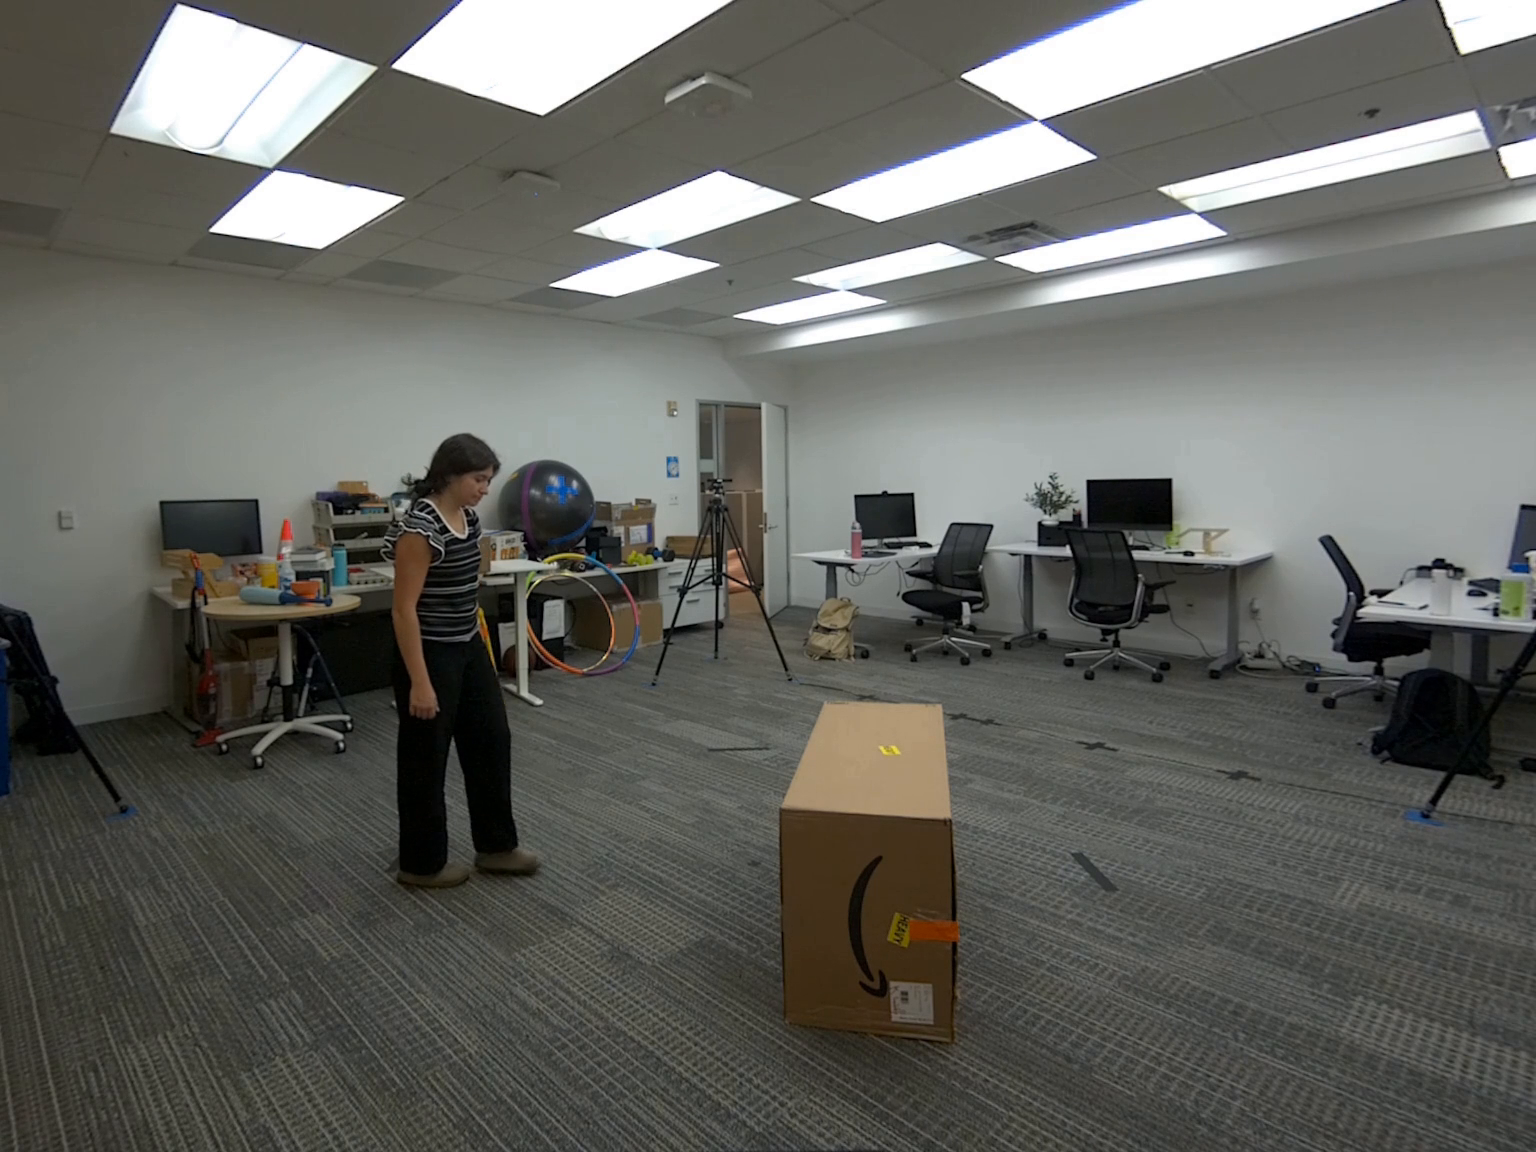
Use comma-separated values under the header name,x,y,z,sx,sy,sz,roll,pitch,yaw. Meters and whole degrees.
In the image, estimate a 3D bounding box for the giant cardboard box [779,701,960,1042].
name,x,y,z,sx,sy,sz,roll,pitch,yaw
giant cardboard box,0.338,0.805,2.614,0.431,0.575,1.019,0,6,11
